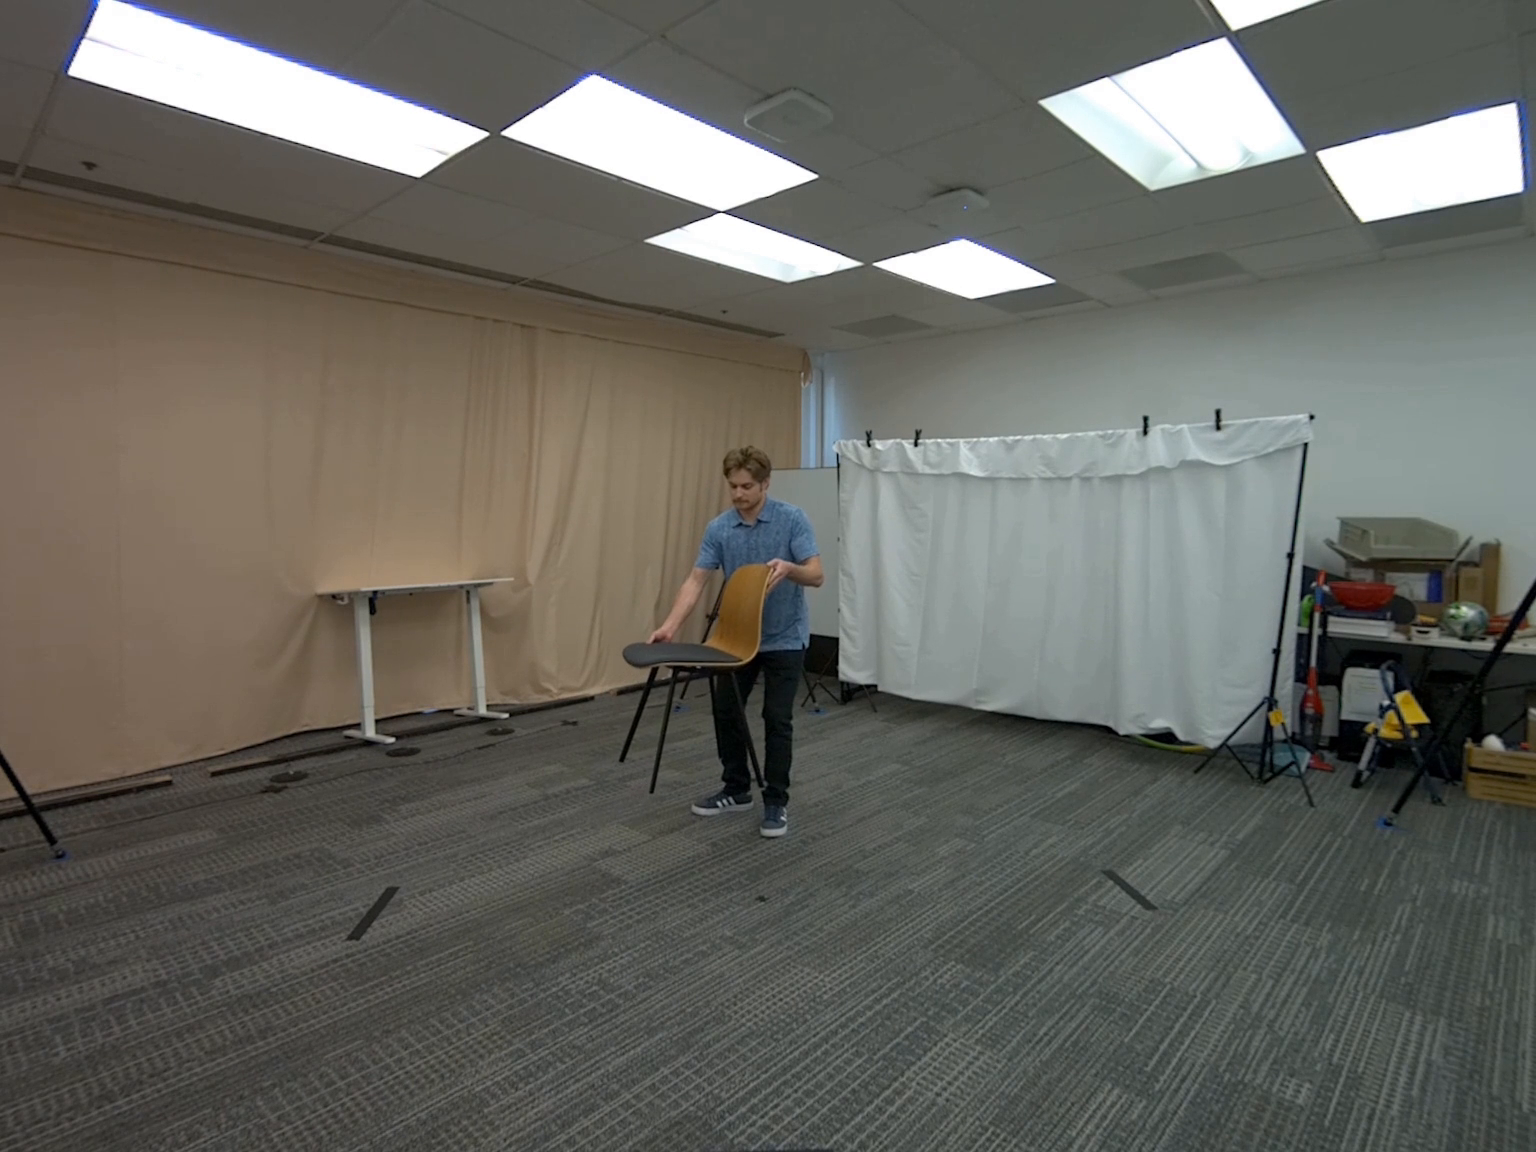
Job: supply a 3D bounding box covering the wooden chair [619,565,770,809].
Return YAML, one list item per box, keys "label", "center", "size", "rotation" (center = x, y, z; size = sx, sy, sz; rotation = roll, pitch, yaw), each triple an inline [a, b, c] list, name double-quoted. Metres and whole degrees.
- label: "wooden chair"
  center: [-0.287, 0.362, 3.309]
  size: [0.511, 0.877, 0.489]
  rotation: [8, 0, -23]
